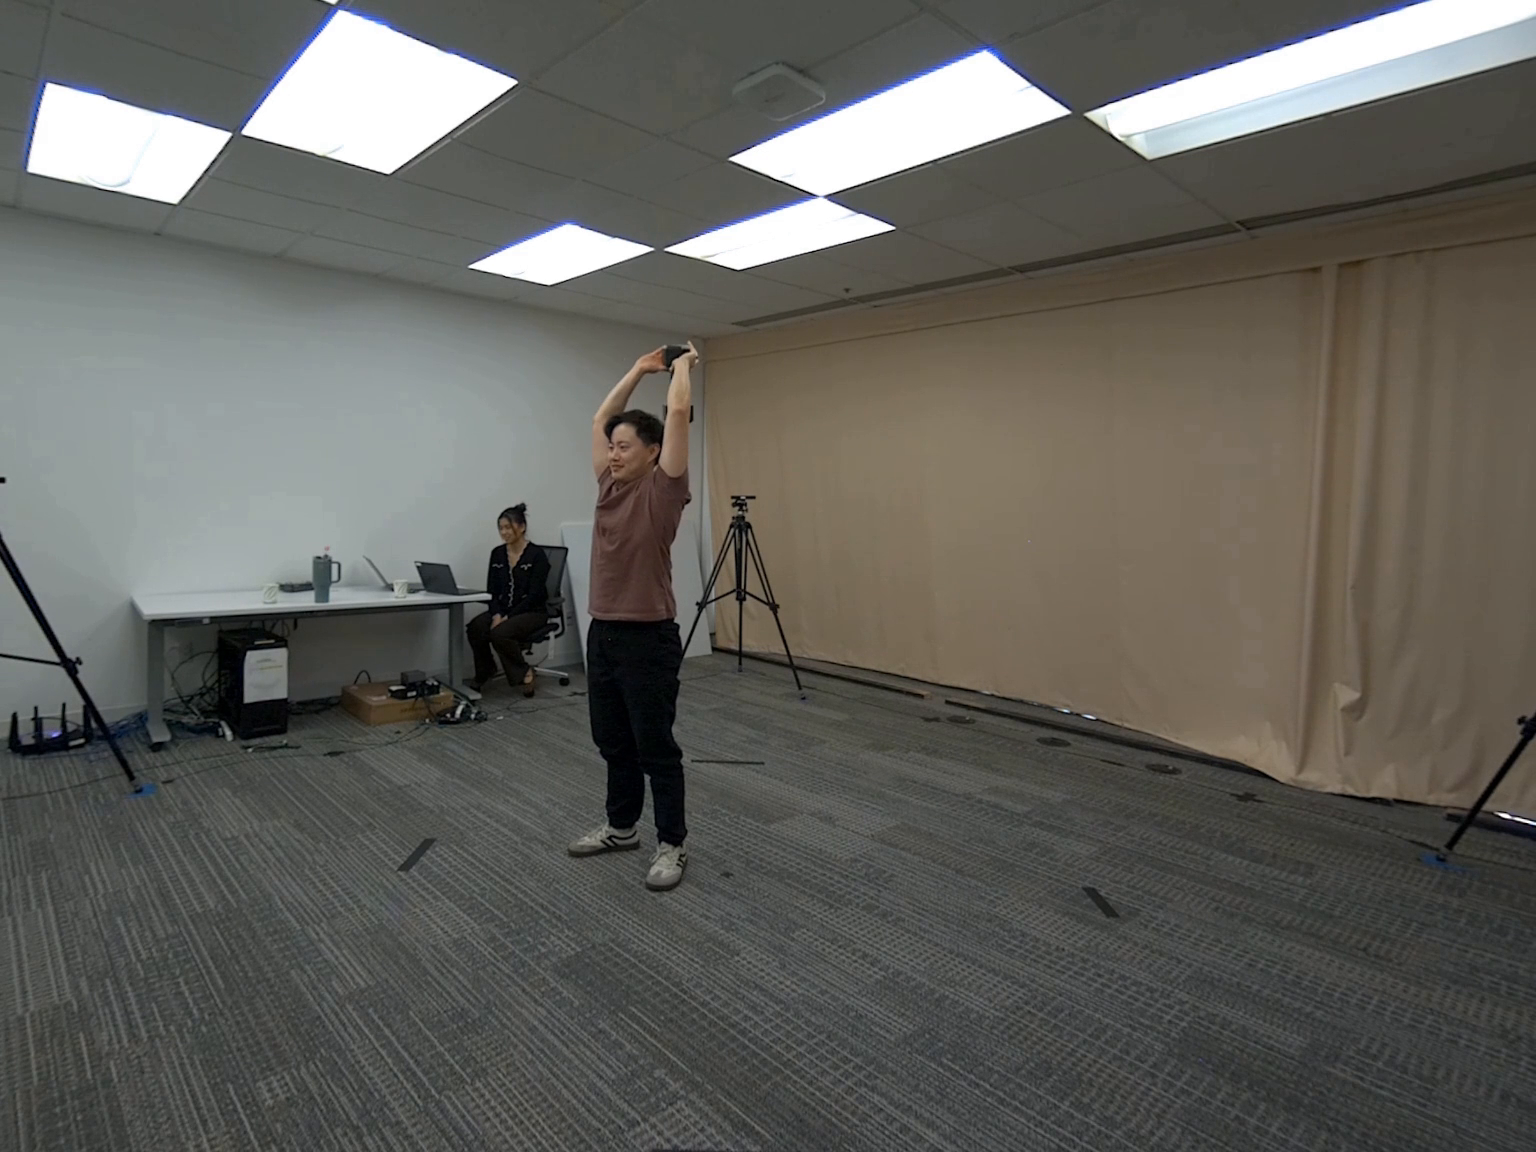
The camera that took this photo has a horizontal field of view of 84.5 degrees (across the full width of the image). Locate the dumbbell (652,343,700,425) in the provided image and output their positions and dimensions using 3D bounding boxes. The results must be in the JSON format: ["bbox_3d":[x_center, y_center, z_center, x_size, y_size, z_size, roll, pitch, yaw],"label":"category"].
[{"bbox_3d":[-0.350,-0.726,3.209,0.121,0.290,0.112,-18,24,-42],"label":"dumbbell"}]
